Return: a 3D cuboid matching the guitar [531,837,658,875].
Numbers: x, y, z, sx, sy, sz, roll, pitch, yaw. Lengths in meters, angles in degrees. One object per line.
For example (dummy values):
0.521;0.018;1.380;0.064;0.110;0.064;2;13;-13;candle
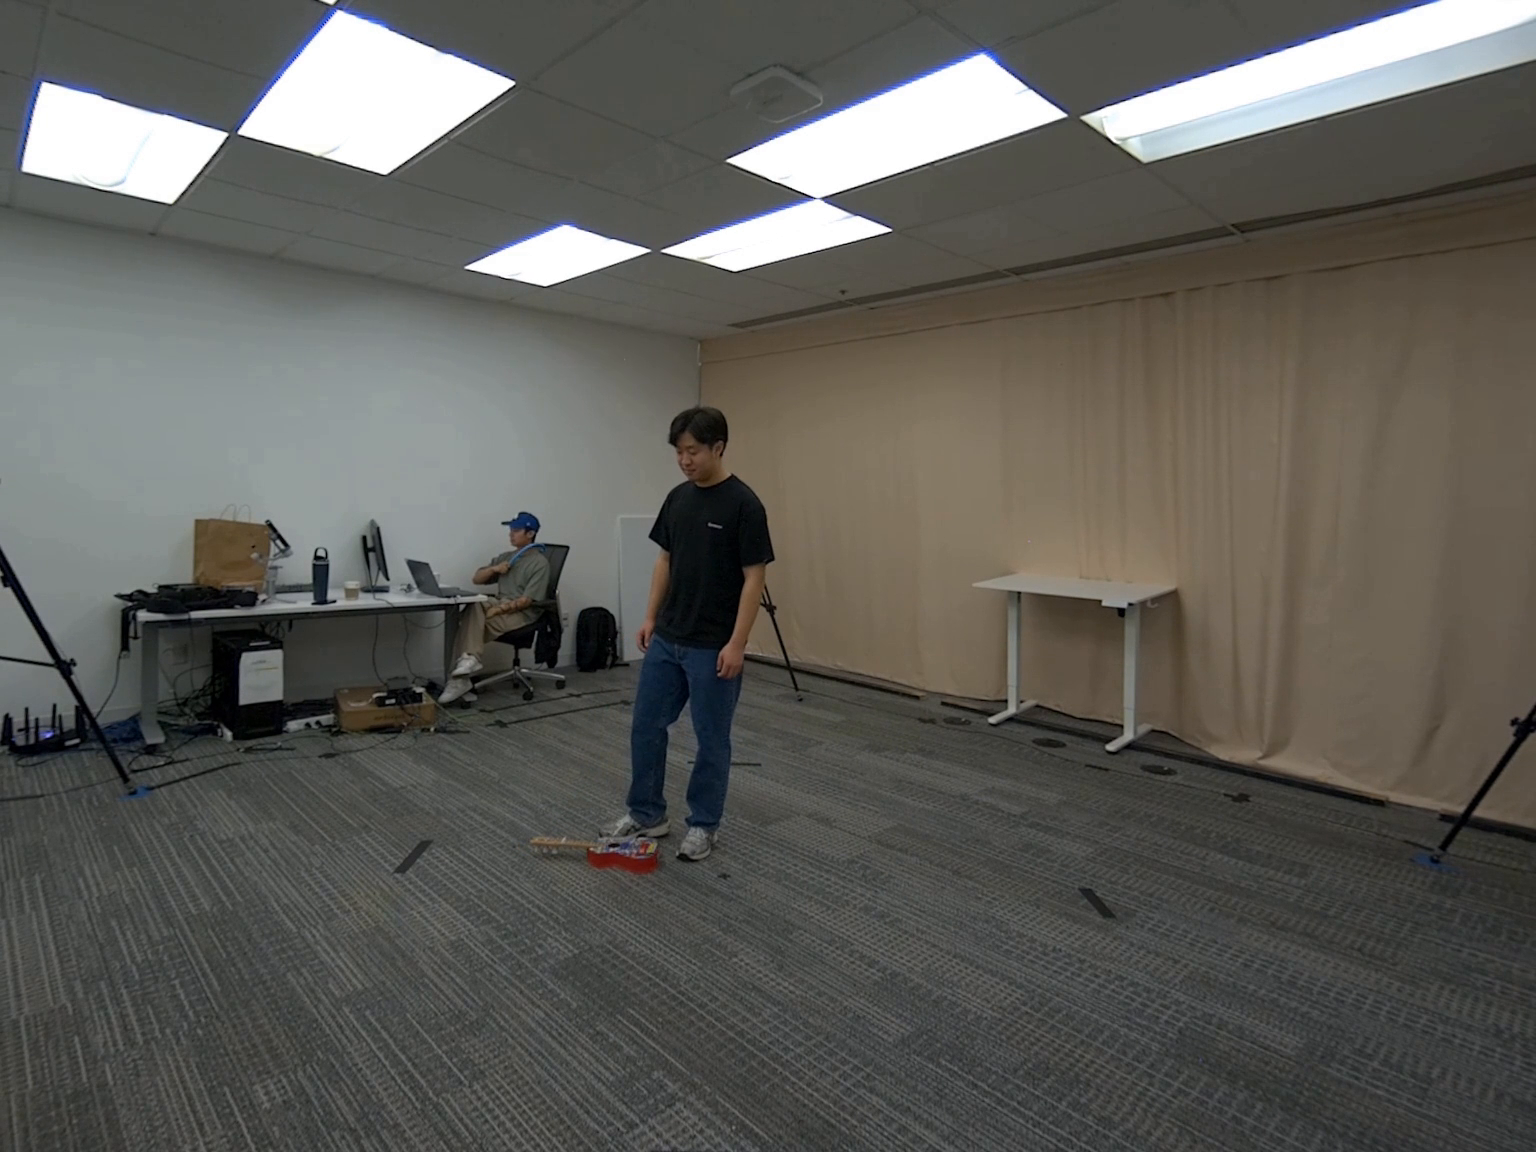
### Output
-0.669;1.047;3.241;0.503;0.070;0.191;3;6;13;guitar
